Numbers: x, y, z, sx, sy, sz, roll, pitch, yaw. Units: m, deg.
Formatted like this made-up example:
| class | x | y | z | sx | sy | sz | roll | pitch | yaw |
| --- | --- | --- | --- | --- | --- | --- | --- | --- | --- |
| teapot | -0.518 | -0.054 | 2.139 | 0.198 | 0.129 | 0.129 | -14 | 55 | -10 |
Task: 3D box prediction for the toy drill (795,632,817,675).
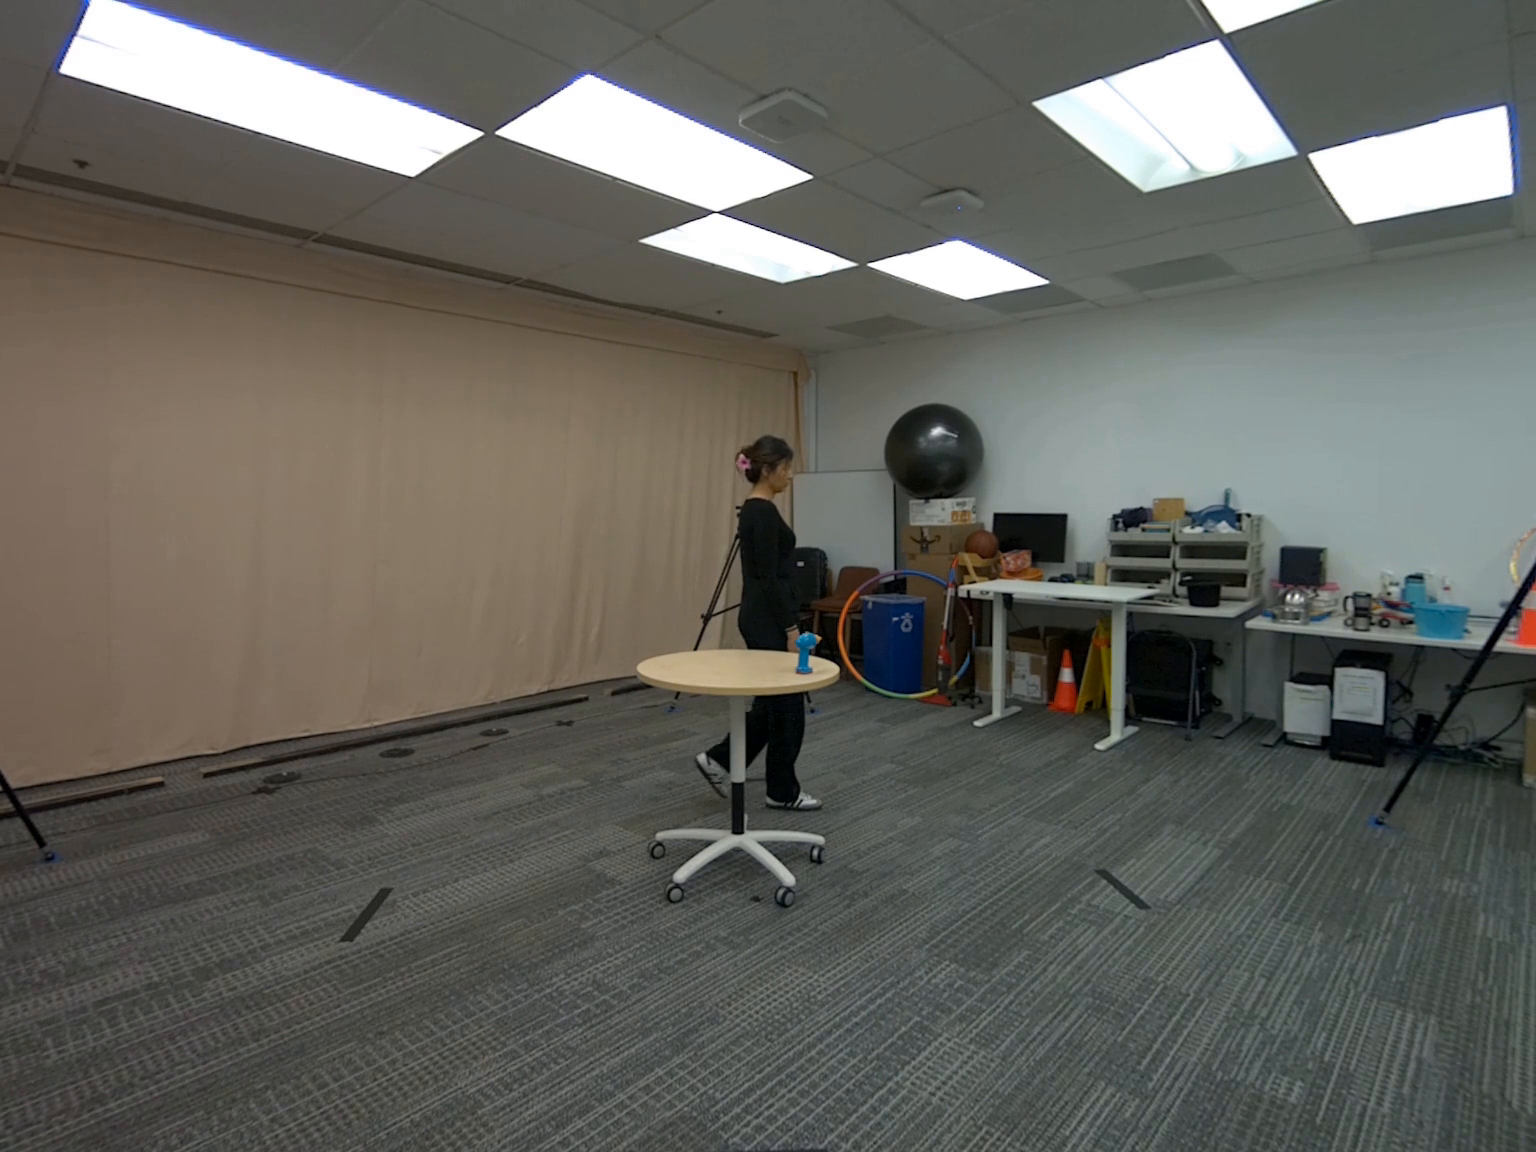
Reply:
| class | x | y | z | sx | sy | sz | roll | pitch | yaw |
| --- | --- | --- | --- | --- | --- | --- | --- | --- | --- |
| toy drill | 0.155 | 0.279 | 3.108 | 0.063 | 0.146 | 0.165 | 3 | 3 | 33 |
